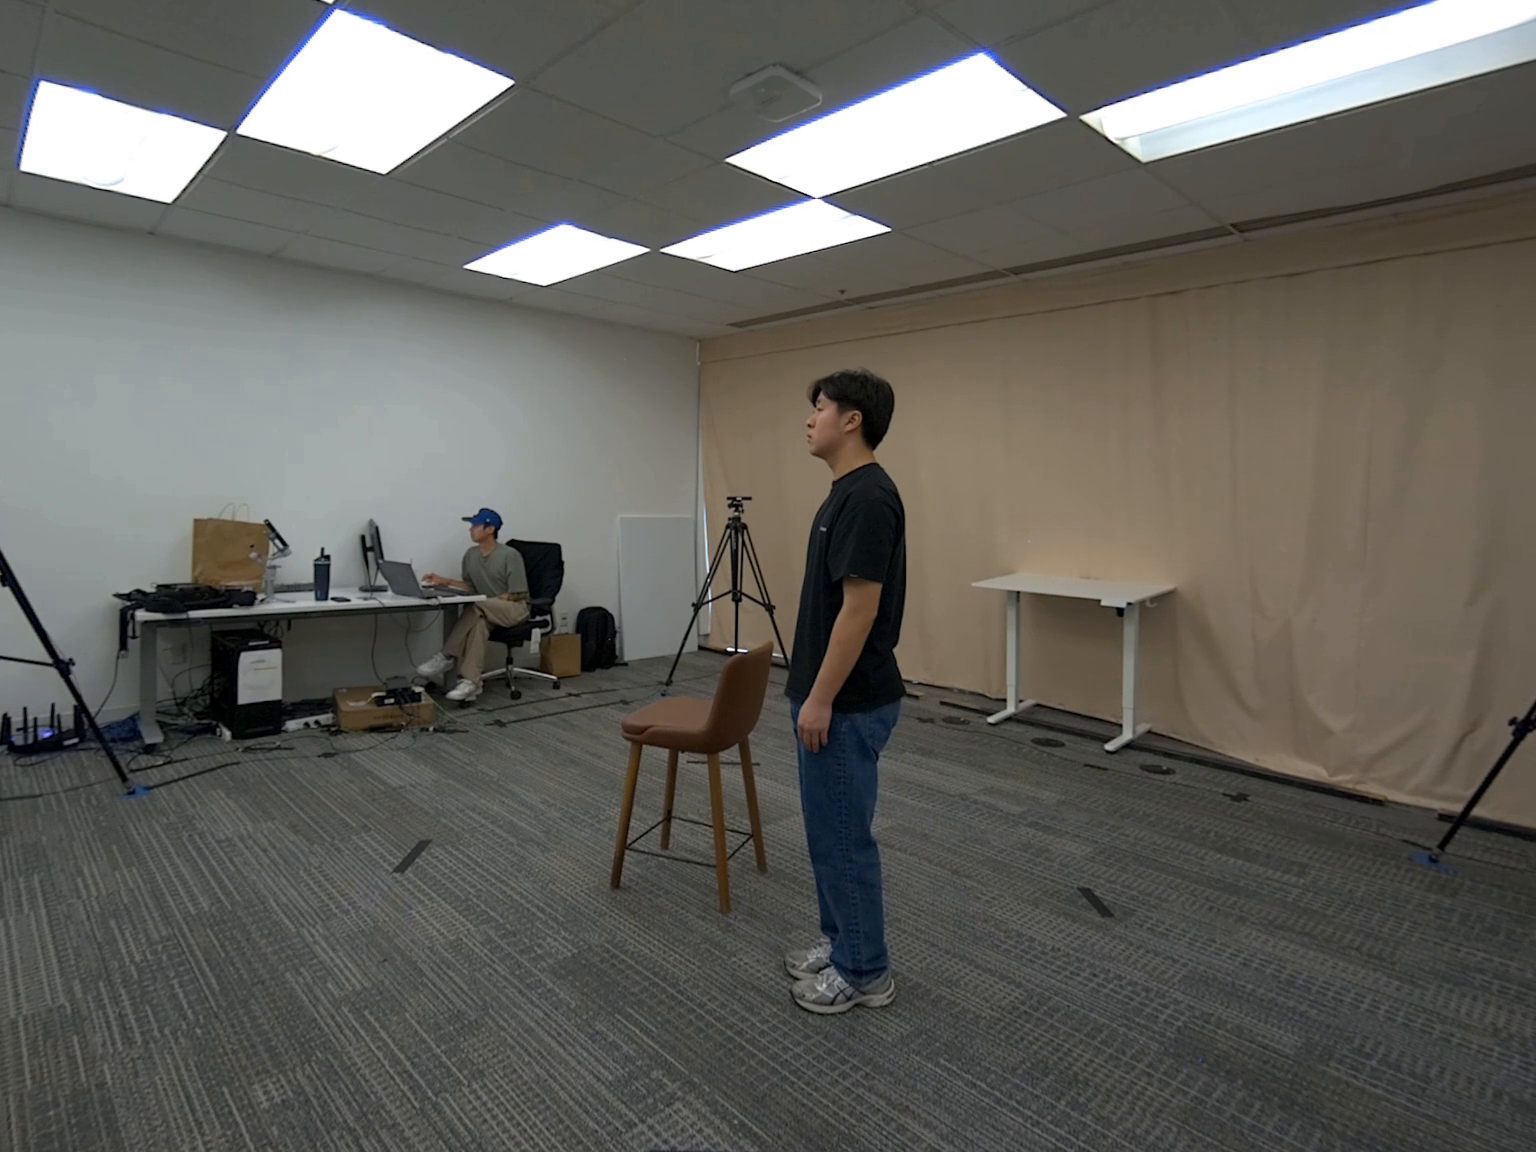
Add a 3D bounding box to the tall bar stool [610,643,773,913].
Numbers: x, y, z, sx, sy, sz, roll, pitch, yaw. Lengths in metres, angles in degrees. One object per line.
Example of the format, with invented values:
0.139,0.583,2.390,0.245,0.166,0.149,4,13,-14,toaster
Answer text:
-0.268,0.676,3.047,0.476,0.887,0.449,5,5,23,tall bar stool
